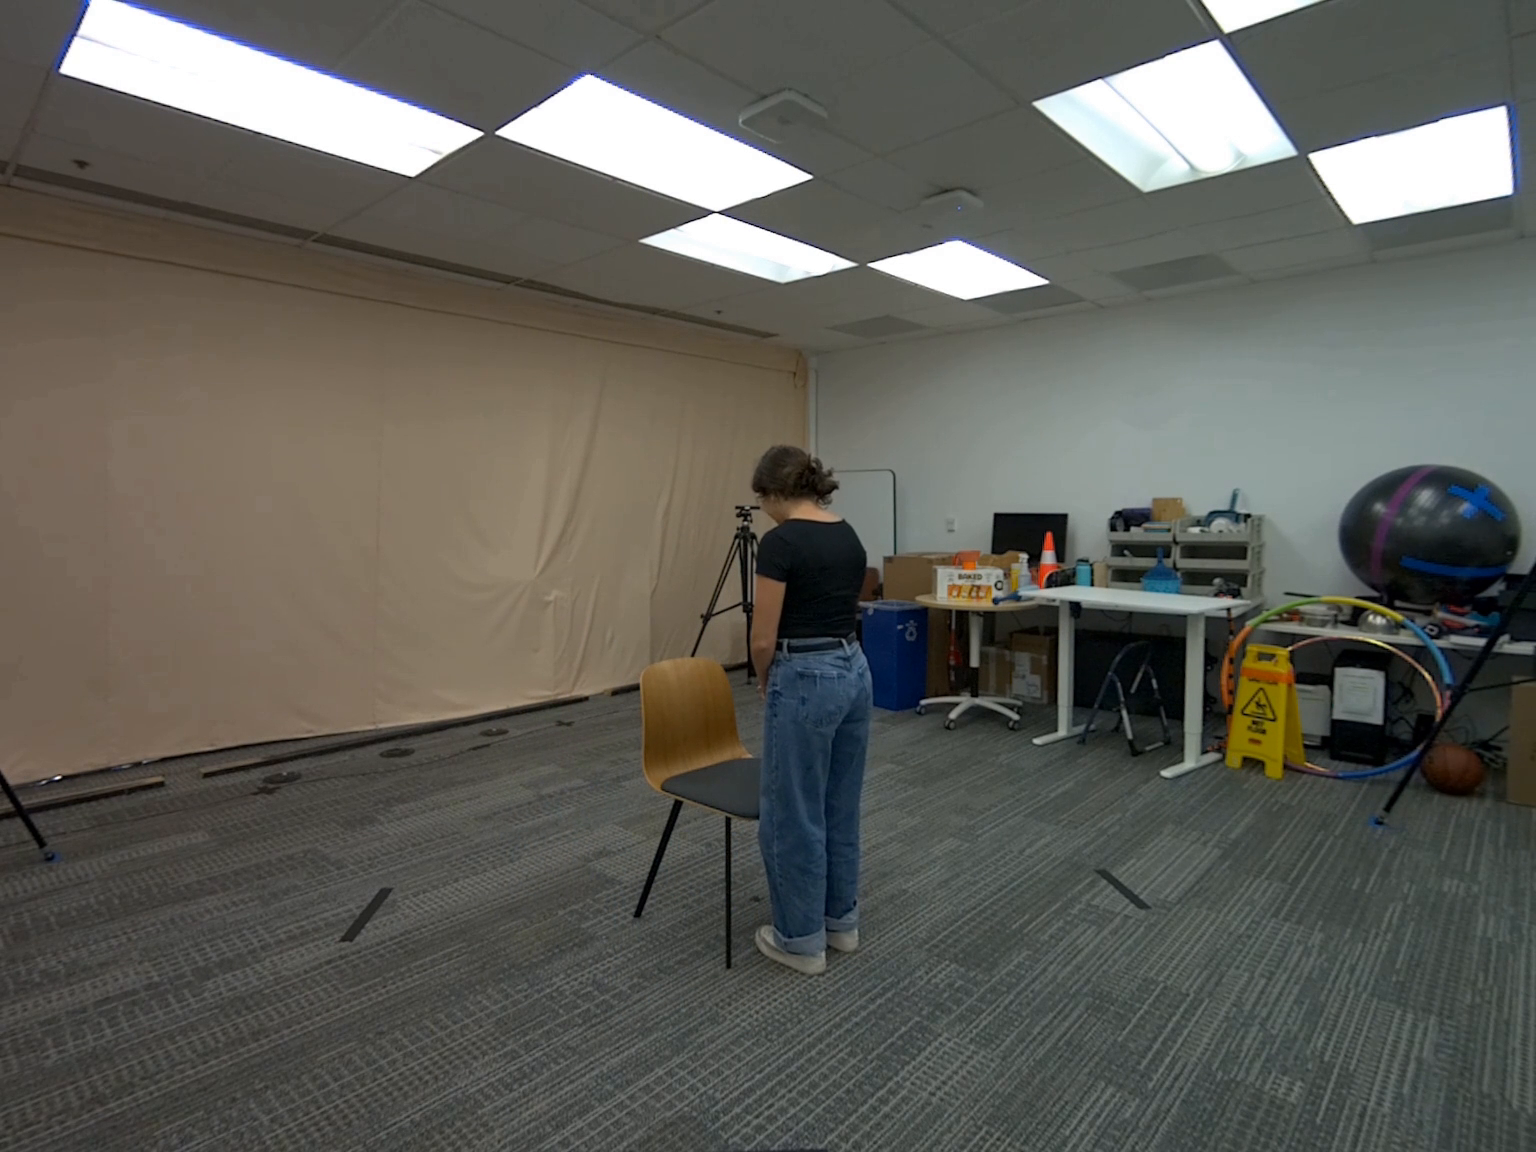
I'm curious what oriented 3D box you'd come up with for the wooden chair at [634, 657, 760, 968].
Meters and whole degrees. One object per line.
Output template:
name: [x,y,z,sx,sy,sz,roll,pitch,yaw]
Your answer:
wooden chair: [-0.134,0.735,2.816,0.539,0.877,0.463,-3,1,44]
